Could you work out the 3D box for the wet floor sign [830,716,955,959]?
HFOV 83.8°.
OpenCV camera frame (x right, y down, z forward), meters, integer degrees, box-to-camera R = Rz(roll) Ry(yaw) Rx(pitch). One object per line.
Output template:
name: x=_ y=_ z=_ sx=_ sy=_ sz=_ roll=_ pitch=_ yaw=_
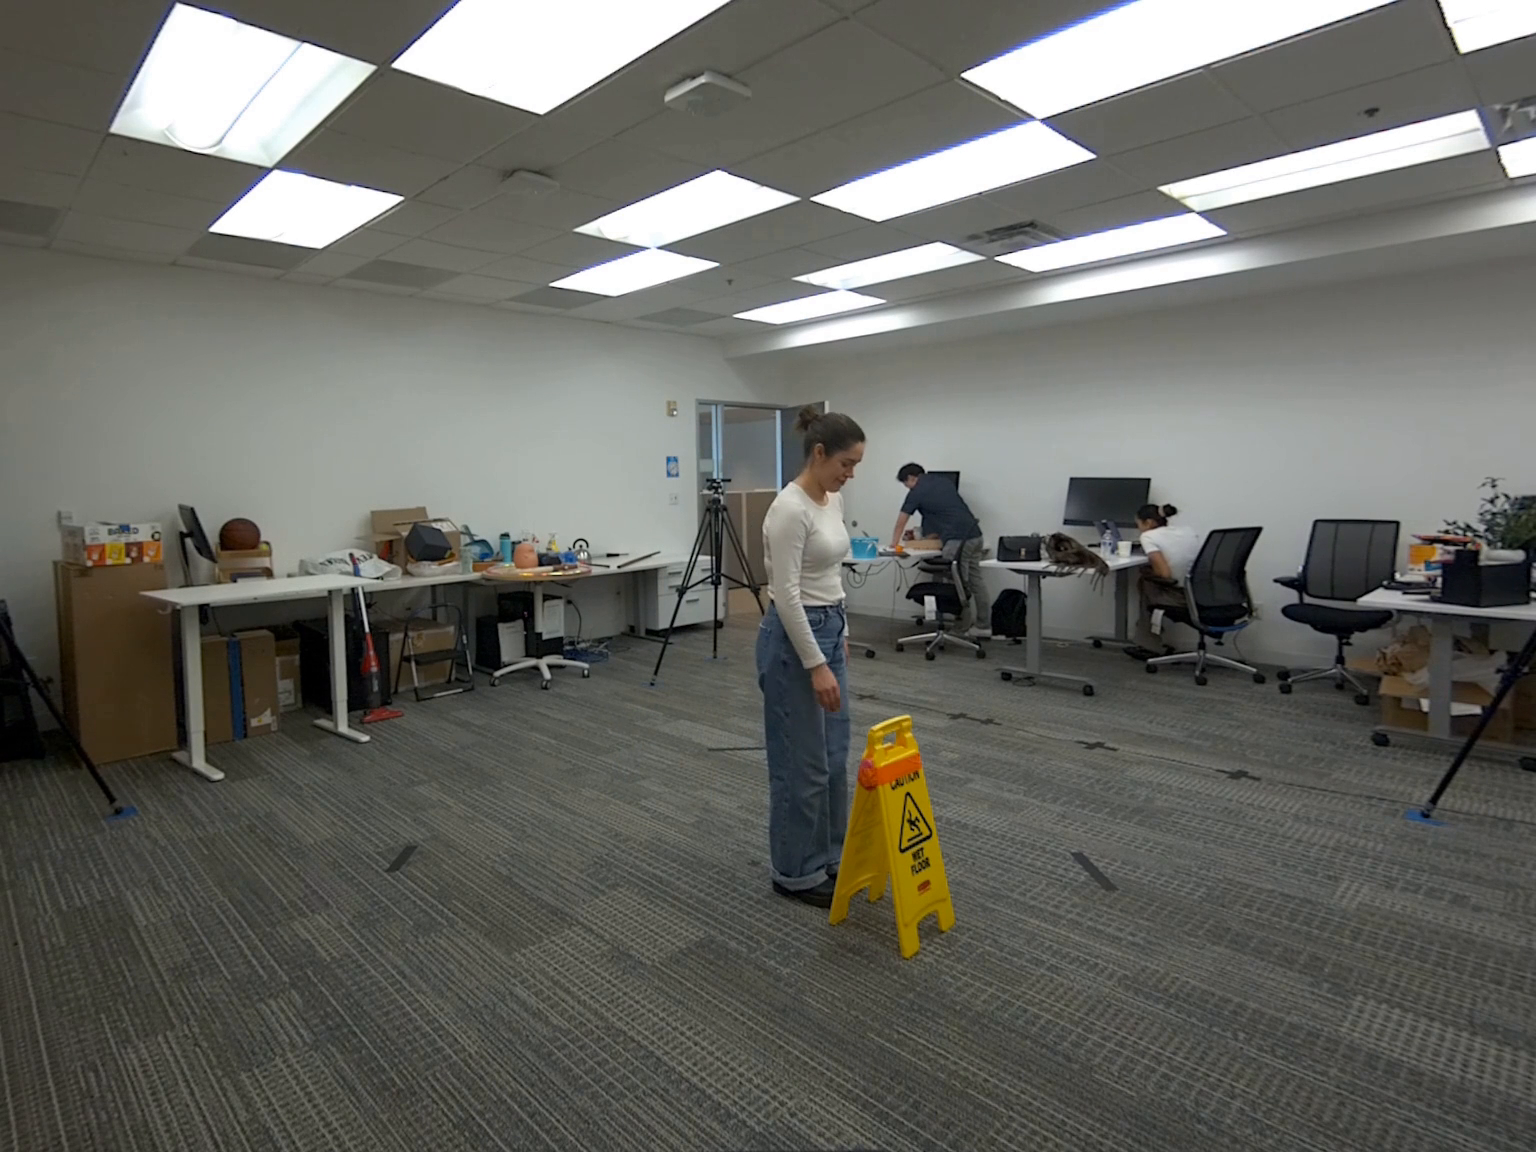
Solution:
wet floor sign: x=0.388 y=0.766 z=2.642 sx=0.299 sy=0.643 sz=0.275 roll=4 pitch=7 yaw=44
